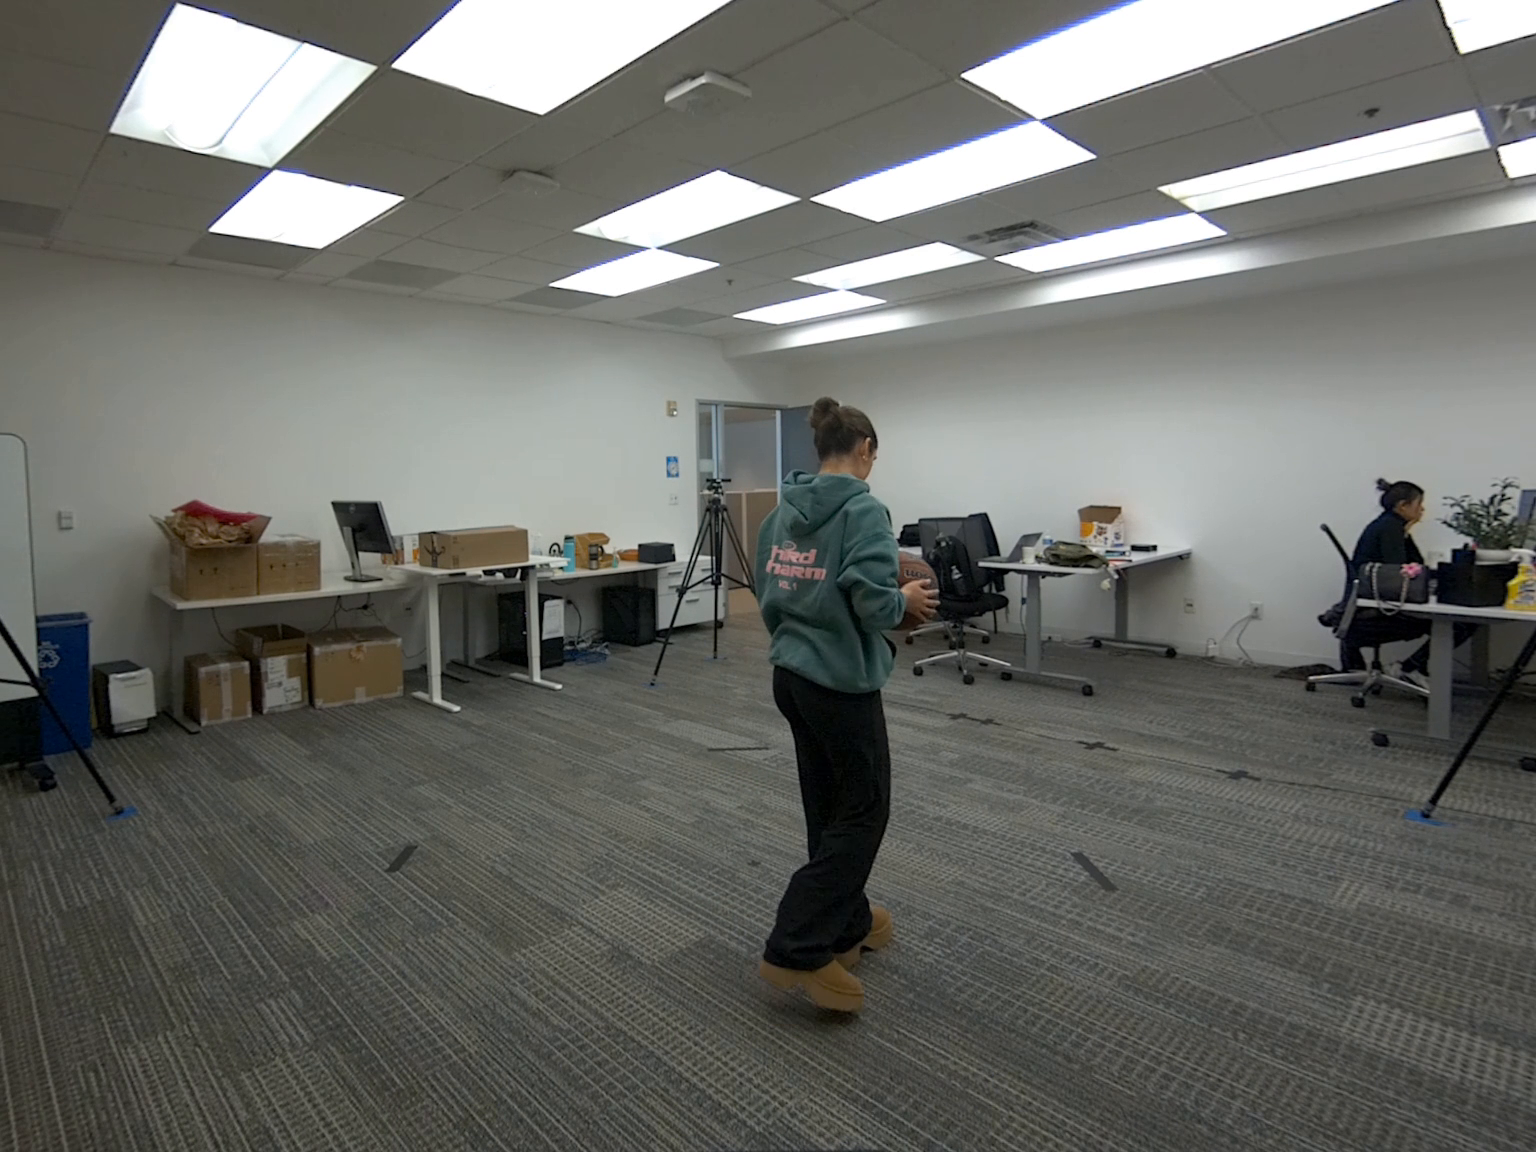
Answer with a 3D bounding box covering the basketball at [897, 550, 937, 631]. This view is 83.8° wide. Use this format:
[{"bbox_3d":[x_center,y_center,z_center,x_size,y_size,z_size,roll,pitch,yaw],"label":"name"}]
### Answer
[{"bbox_3d":[0.391,0.047,2.511,0.236,0.235,0.237,-1,5,-2],"label":"basketball"}]
